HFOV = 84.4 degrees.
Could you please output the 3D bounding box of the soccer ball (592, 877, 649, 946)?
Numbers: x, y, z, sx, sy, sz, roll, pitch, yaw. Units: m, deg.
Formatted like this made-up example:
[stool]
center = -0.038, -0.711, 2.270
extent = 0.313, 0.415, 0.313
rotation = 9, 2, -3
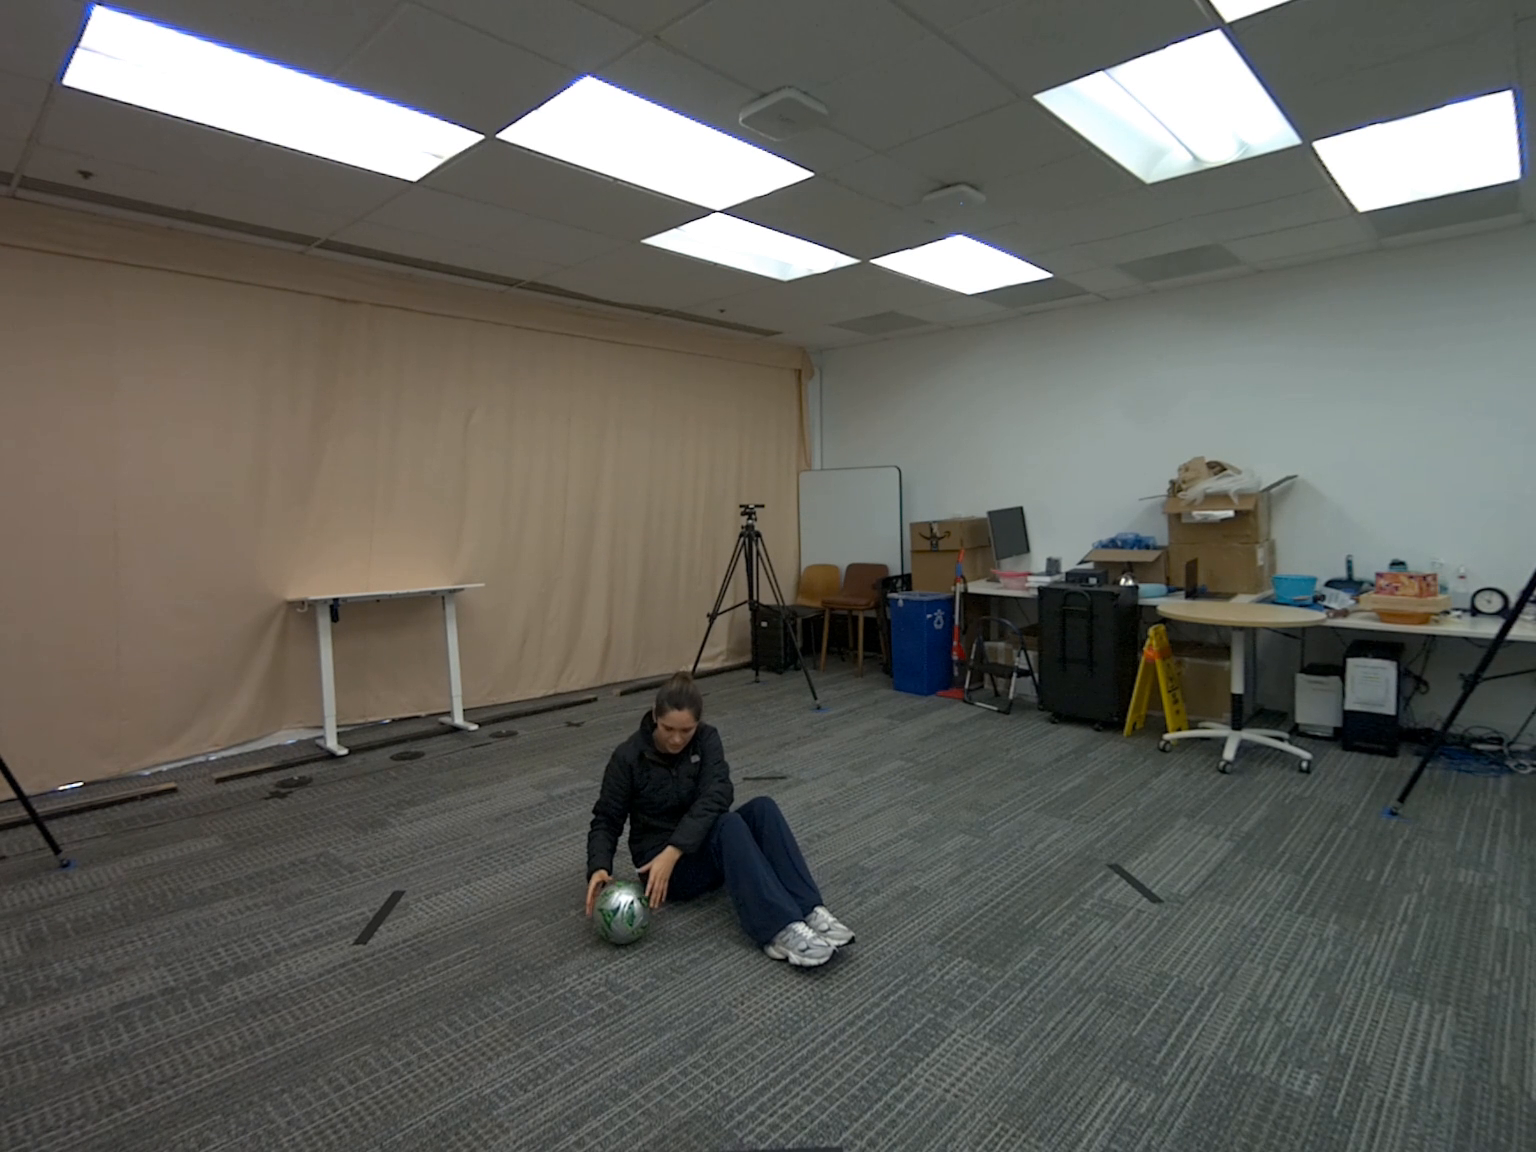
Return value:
[soccer ball]
center = -0.468, 1.073, 2.717
extent = 0.187, 0.187, 0.188
rotation = 2, 5, -2
